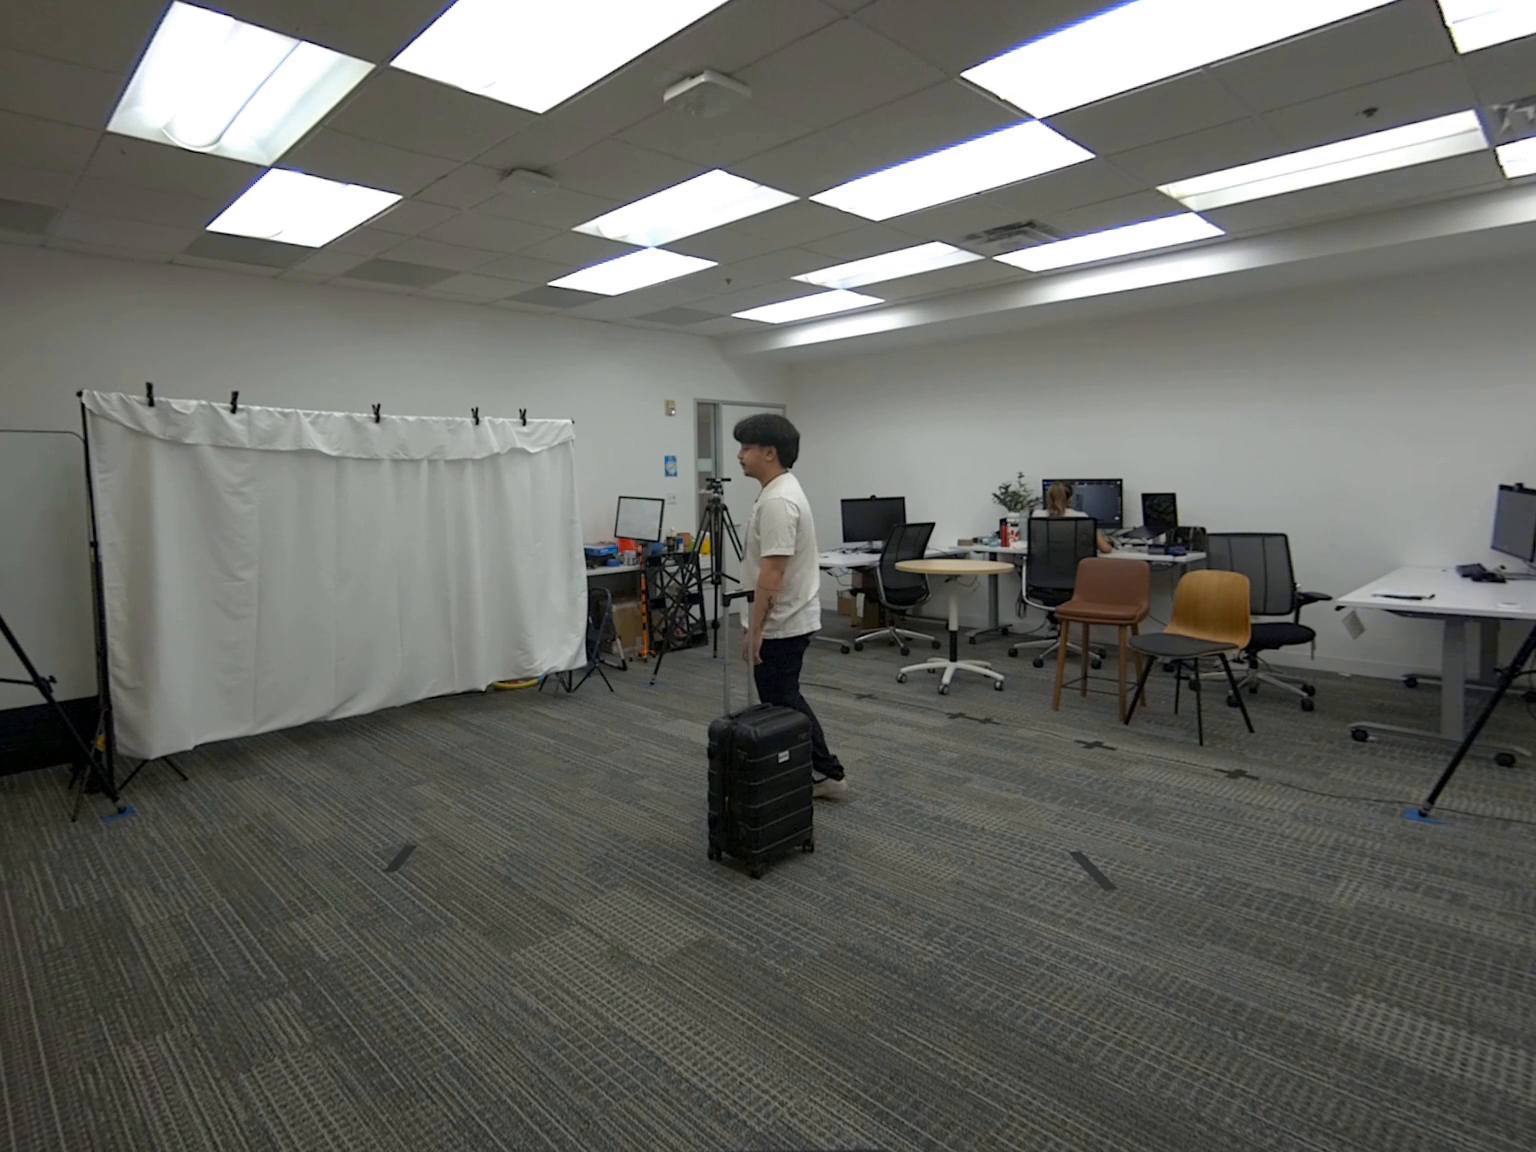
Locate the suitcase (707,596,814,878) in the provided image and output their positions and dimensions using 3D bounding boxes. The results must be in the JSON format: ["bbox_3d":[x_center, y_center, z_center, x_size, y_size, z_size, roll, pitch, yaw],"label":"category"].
[{"bbox_3d":[-0.022,0.563,3.116,0.265,0.973,0.374,7,9,44],"label":"suitcase"}]
